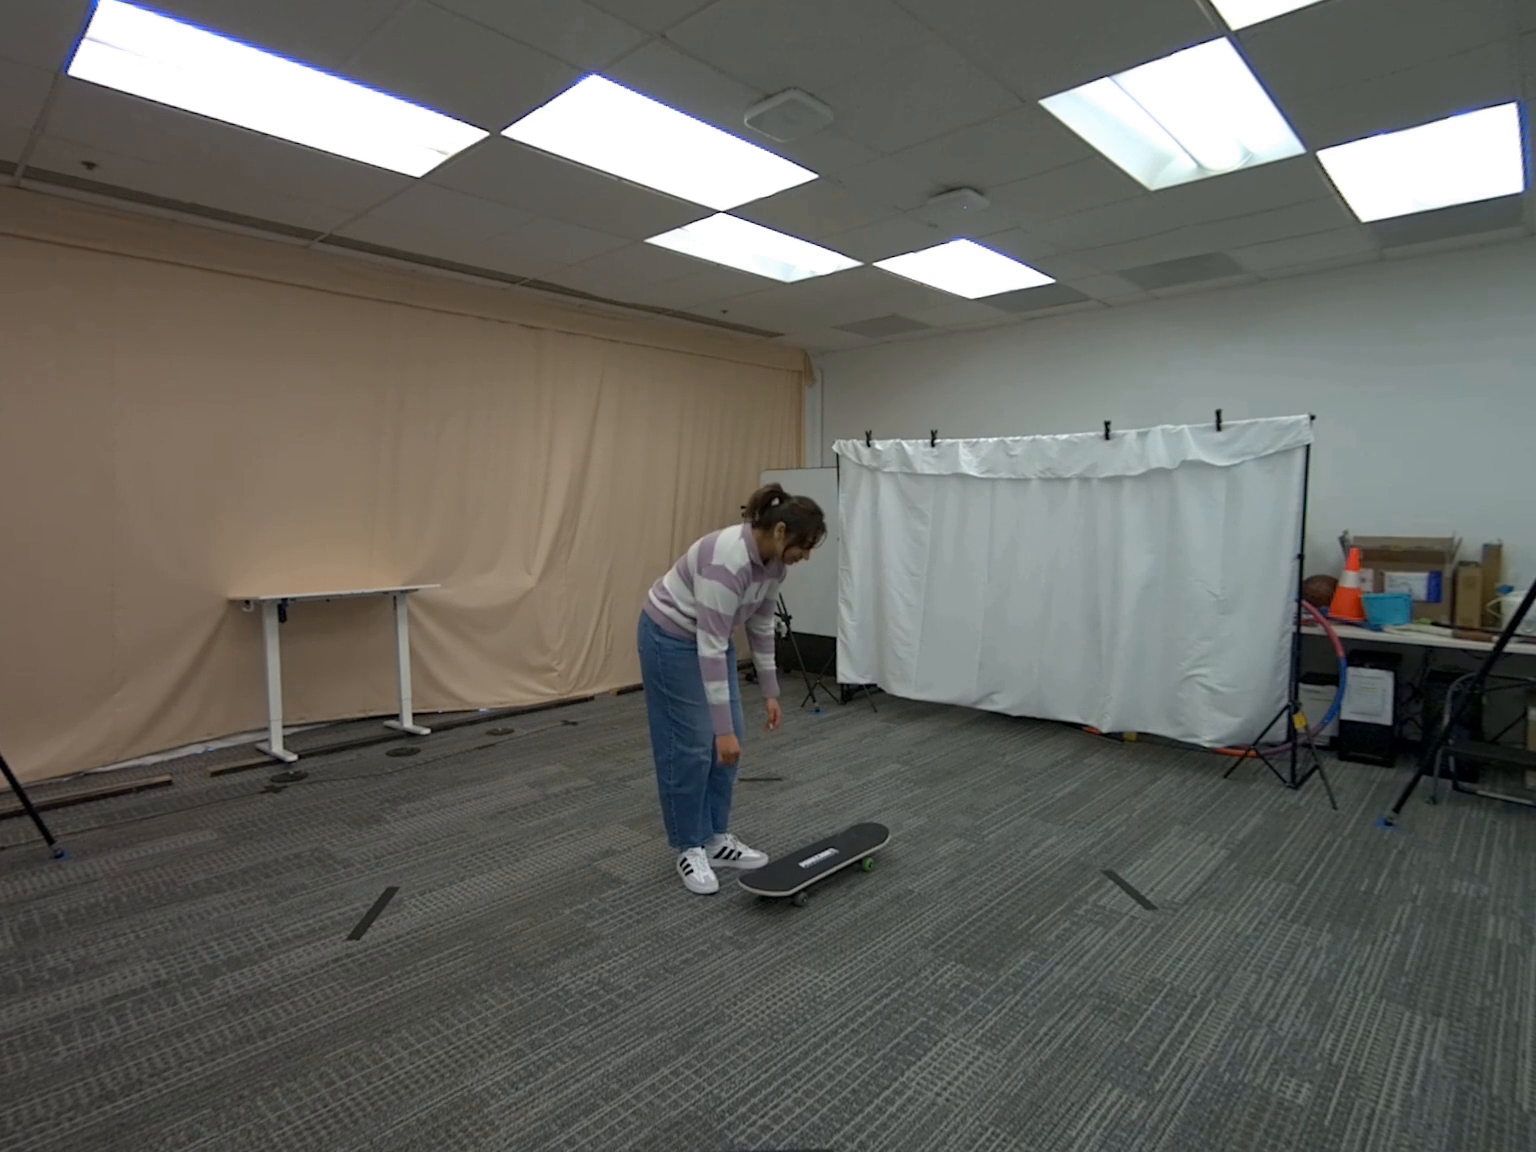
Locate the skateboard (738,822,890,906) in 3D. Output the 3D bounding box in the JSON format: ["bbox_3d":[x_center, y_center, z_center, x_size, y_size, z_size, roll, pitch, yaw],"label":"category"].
[{"bbox_3d":[0.187,1.074,3.117,0.200,0.110,0.761,4,6,43],"label":"skateboard"}]
